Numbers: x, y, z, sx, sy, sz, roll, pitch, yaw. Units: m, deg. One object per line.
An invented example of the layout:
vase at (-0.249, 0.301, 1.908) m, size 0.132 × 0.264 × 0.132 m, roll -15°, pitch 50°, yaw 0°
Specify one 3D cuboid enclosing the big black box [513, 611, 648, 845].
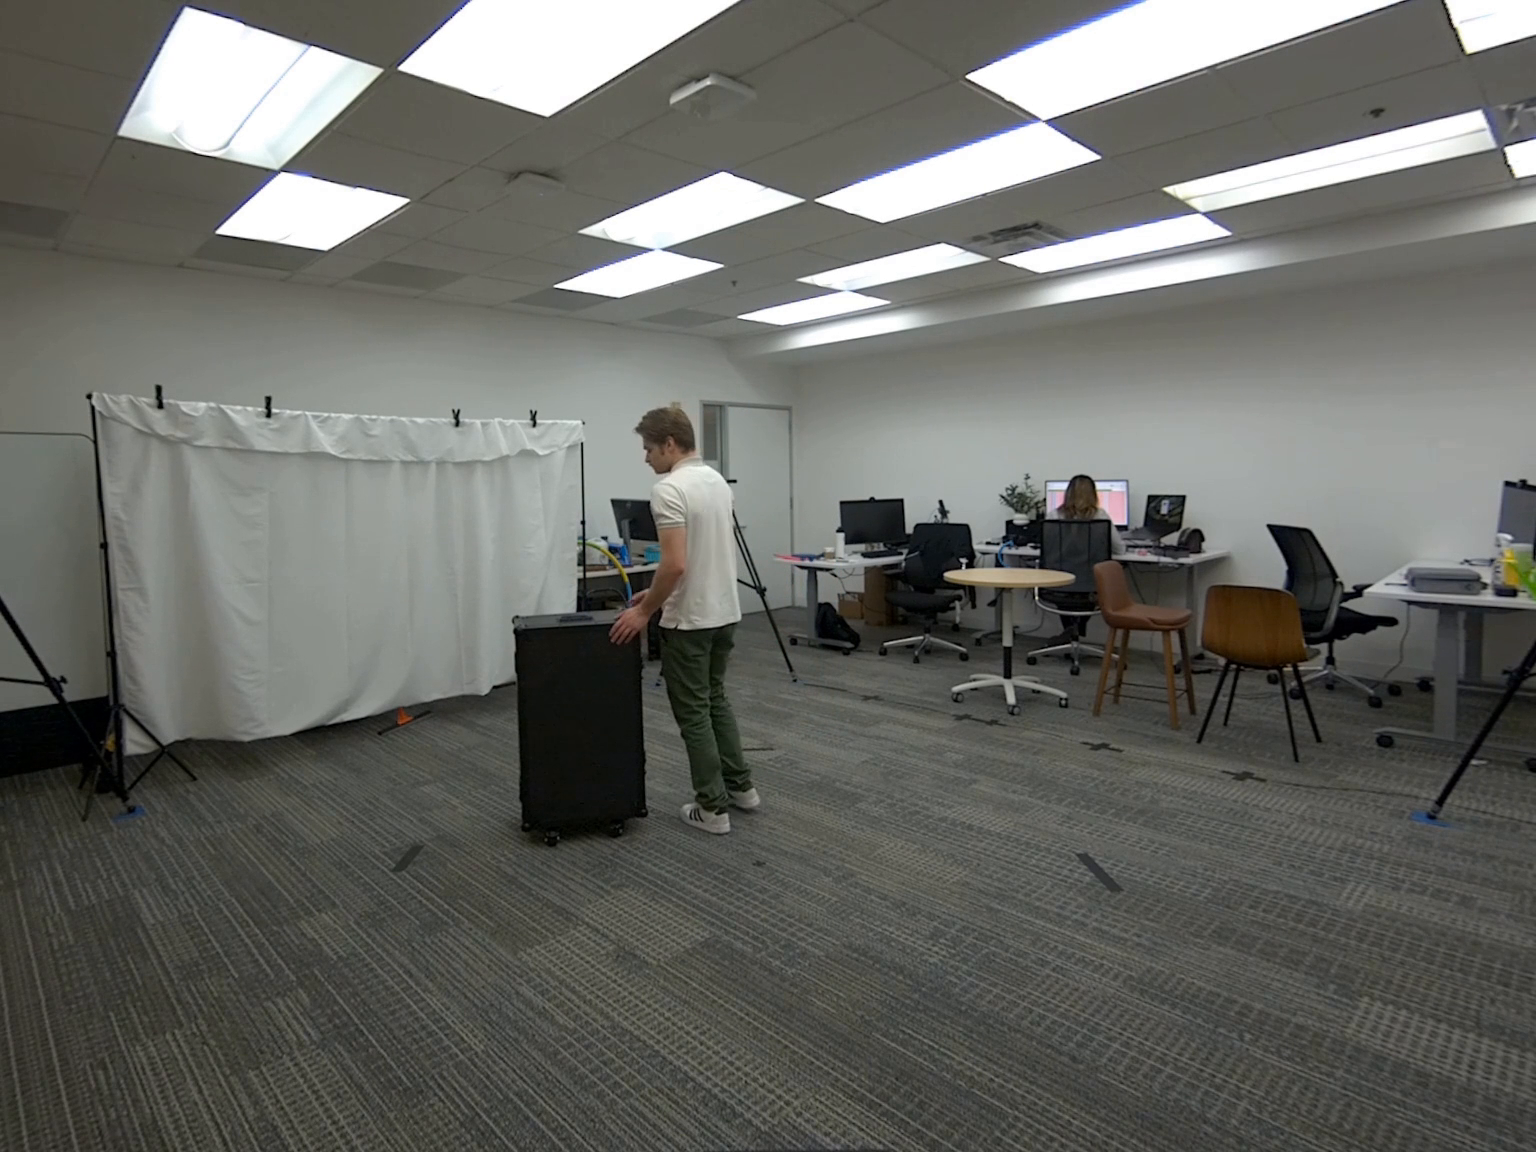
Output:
big black box at (-0.779, 0.601, 3.479) m, size 0.516 × 0.866 × 0.391 m, roll -3°, pitch 3°, yaw -15°
